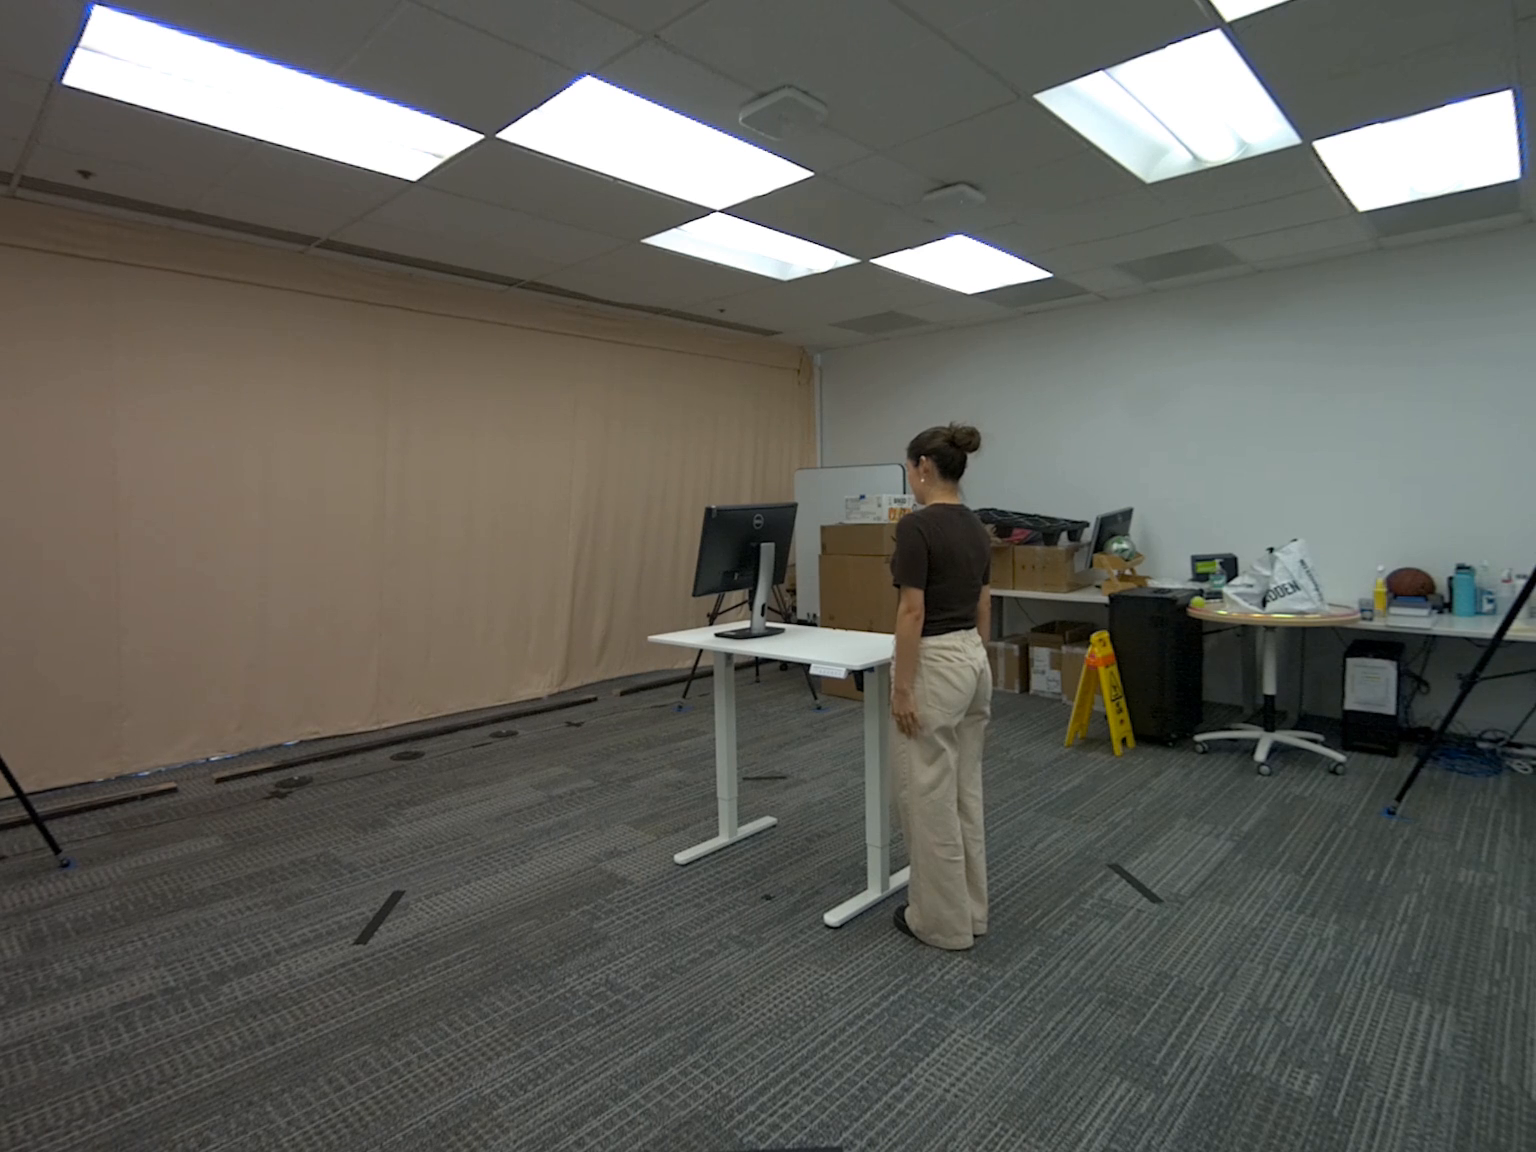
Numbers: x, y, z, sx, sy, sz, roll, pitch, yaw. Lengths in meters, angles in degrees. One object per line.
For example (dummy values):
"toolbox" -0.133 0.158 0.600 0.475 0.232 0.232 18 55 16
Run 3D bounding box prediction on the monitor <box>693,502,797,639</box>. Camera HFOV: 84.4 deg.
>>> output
"monitor" -0.058 -0.025 3.312 0.180 0.515 0.514 -1 4 41
